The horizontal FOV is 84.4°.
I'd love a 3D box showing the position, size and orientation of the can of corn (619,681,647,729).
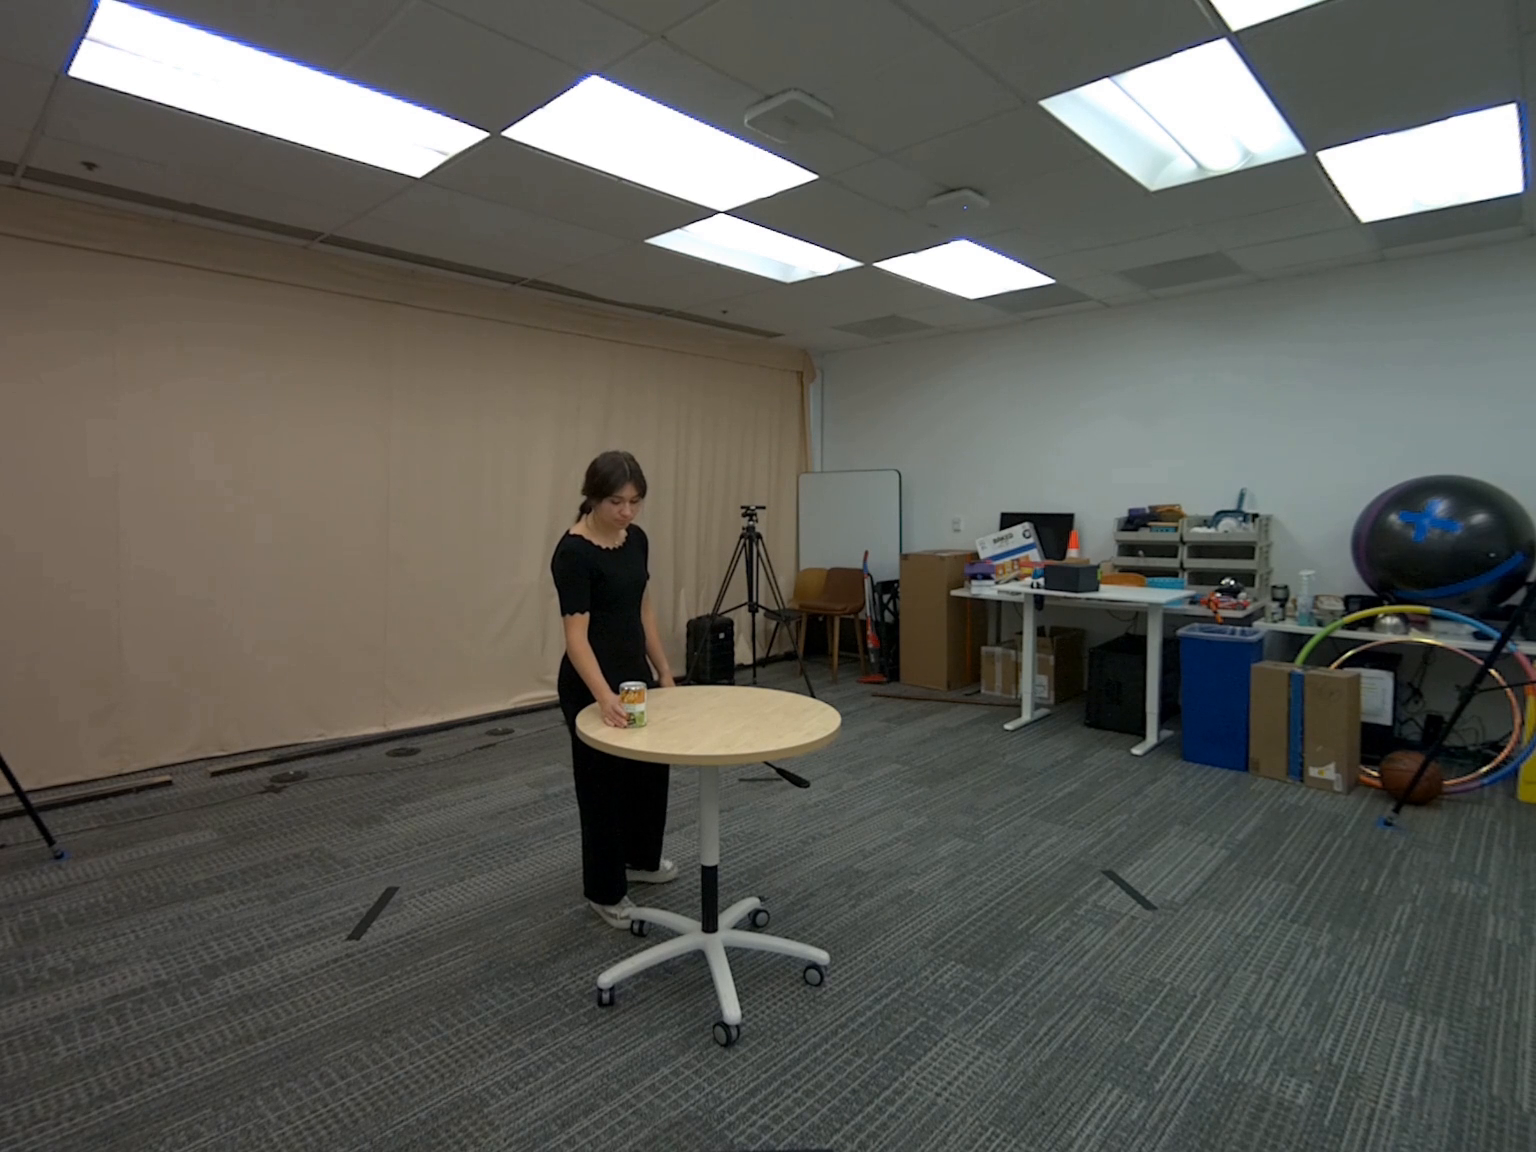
[{"bbox_3d":[-0.372,0.360,2.341,0.074,0.110,0.074,-1,6,-2],"label":"can of corn"}]
